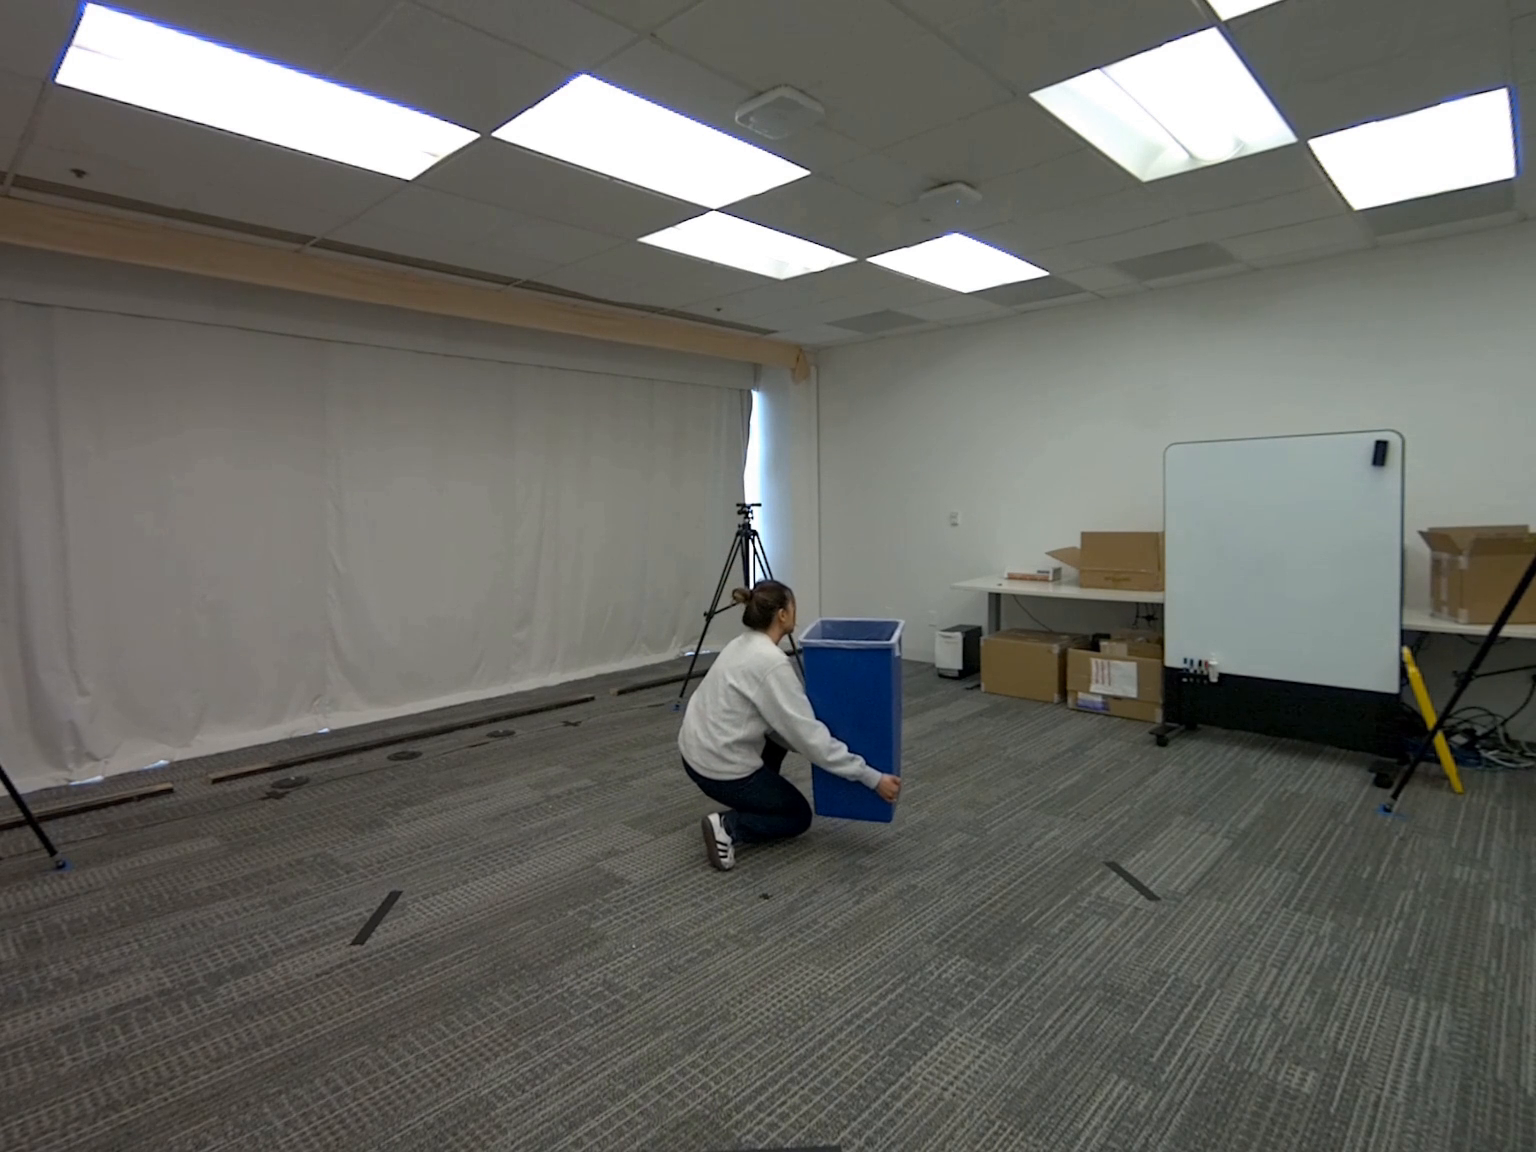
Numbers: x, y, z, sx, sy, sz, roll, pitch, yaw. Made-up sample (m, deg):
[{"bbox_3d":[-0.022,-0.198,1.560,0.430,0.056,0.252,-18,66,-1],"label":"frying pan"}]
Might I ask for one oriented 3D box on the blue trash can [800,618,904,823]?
[{"bbox_3d":[0.346,0.555,3.324,0.381,0.709,0.373,1,10,17],"label":"blue trash can"}]
